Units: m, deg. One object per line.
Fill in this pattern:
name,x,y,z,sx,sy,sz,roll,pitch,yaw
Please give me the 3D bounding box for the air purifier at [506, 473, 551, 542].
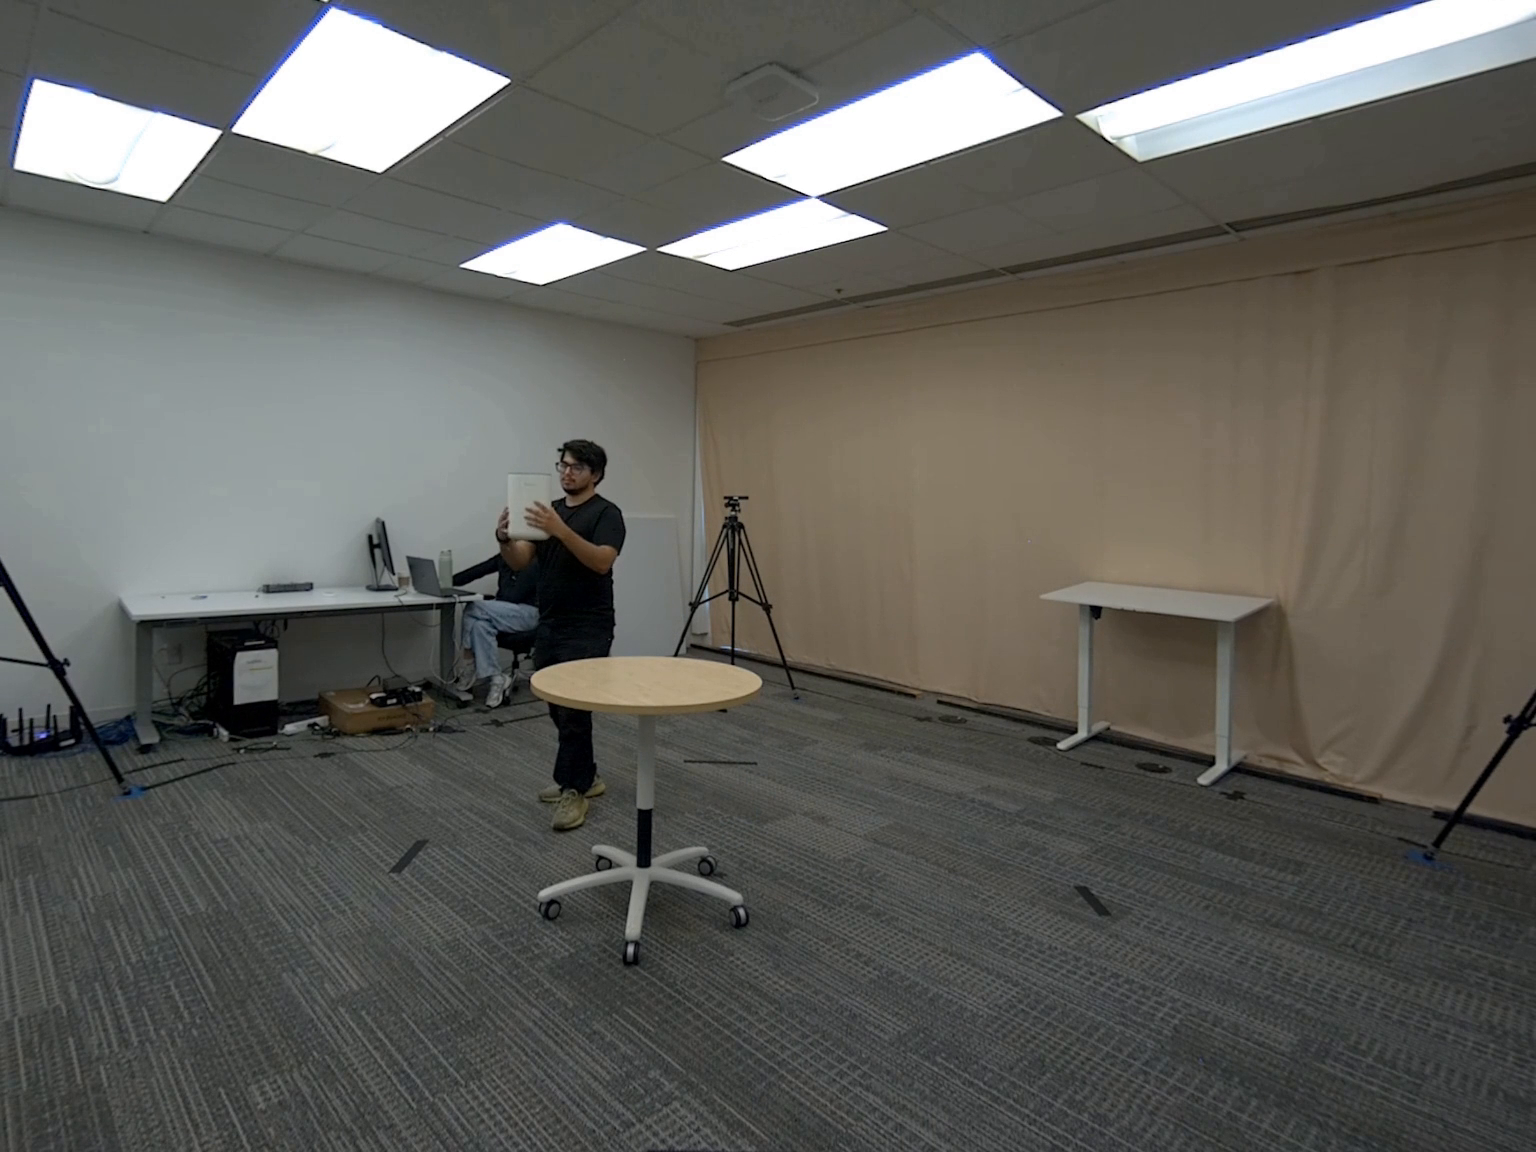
air purifier,-0.985,-0.284,3.411,0.168,0.265,0.174,2,2,-20
